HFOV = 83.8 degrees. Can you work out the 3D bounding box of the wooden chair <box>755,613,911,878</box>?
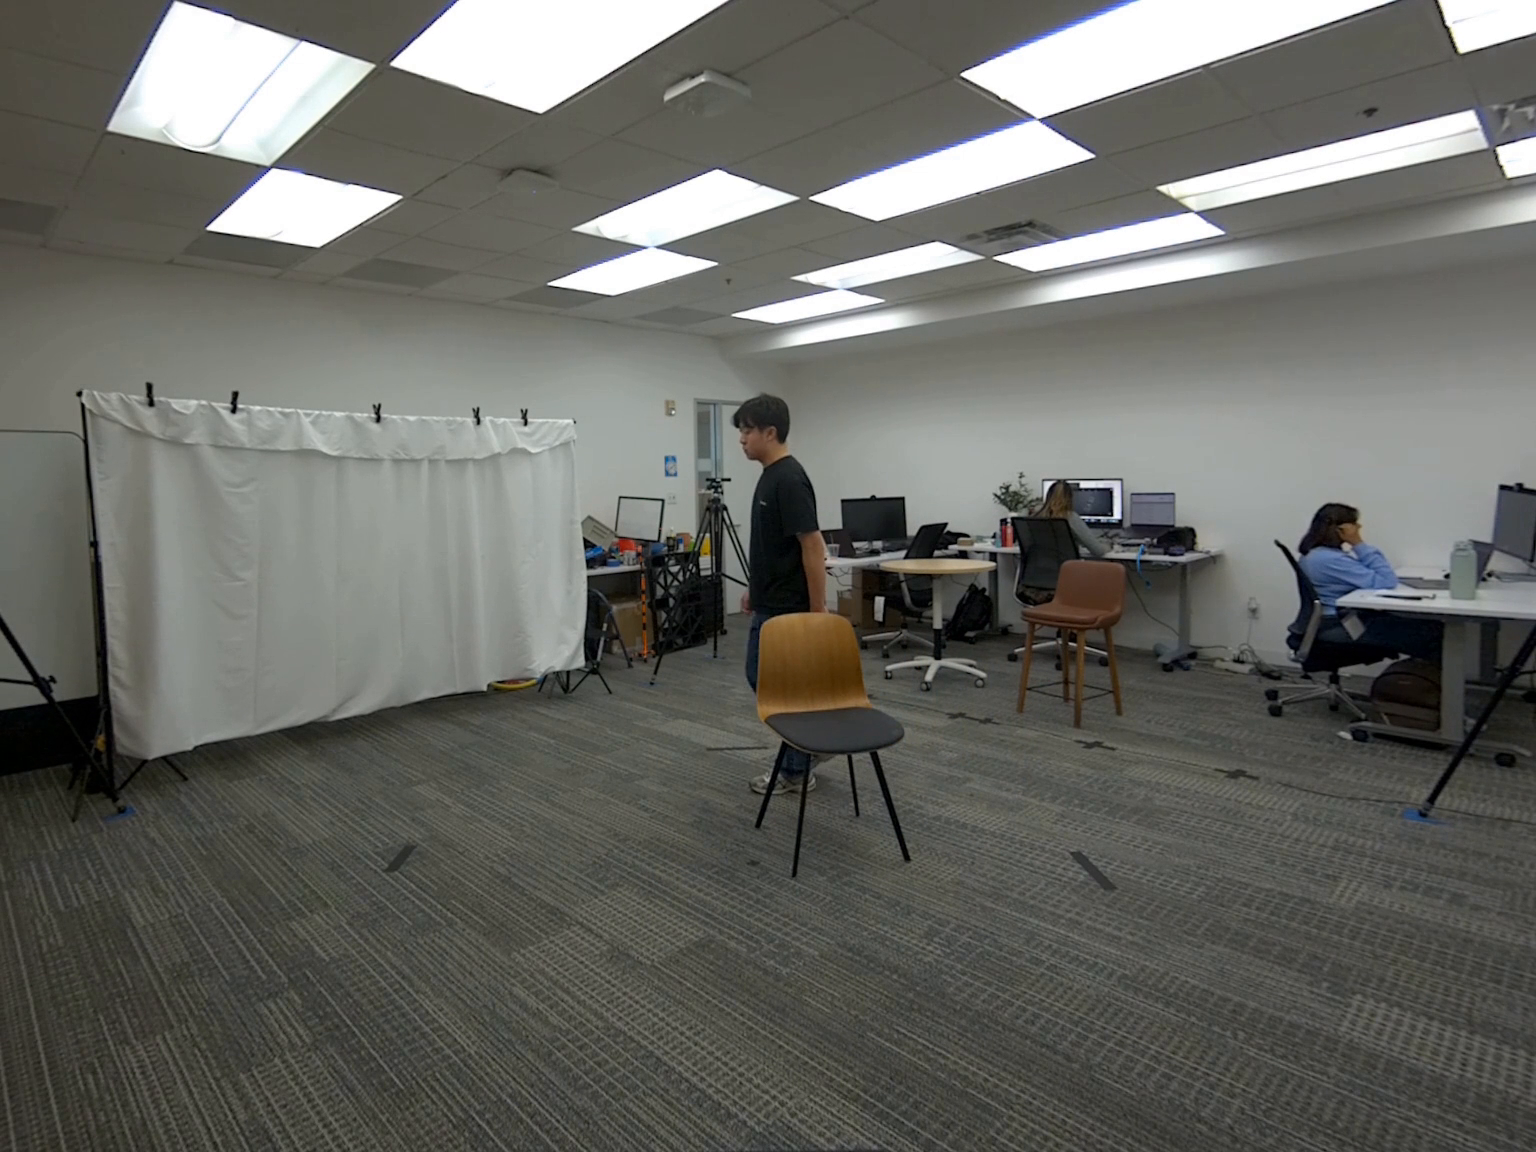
[{"bbox_3d":[0.227,0.600,3.217,0.471,0.878,0.531,-2,0,-16],"label":"wooden chair"}]
